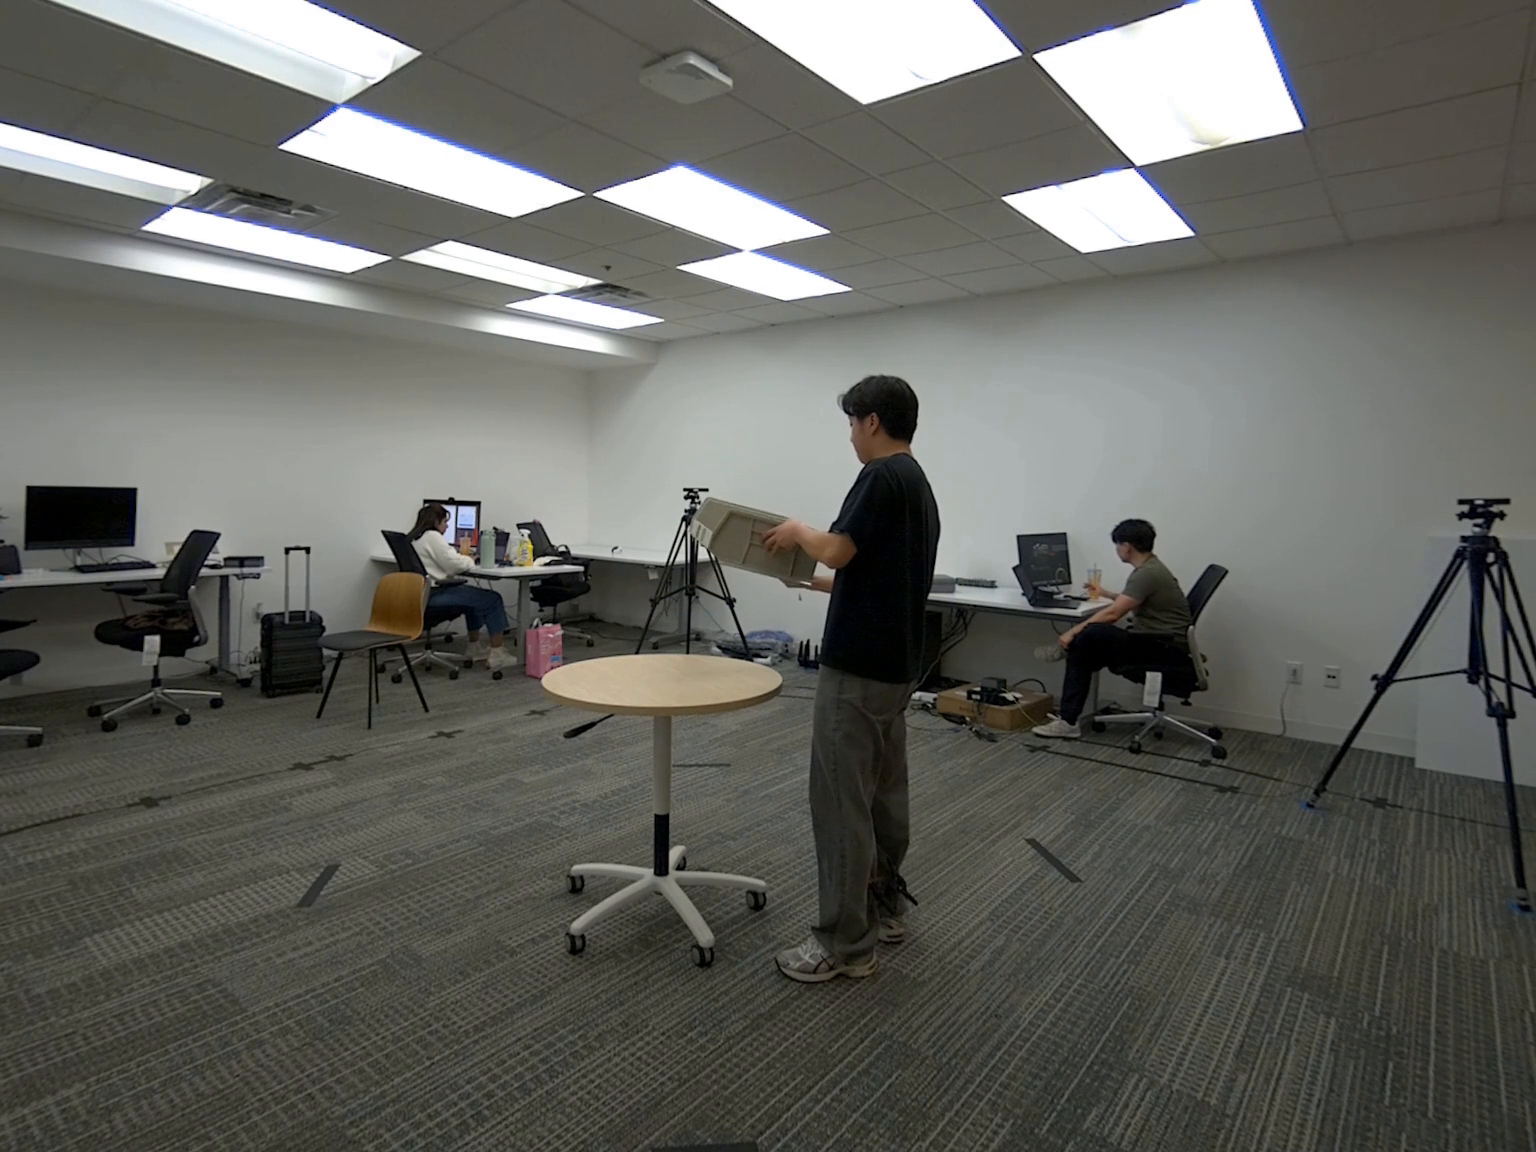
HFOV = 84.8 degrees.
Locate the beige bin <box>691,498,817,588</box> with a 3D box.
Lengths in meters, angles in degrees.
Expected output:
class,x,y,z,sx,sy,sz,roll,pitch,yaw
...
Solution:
class,x,y,z,sx,sy,sz,roll,pitch,yaw
beige bin,-0.056,-0.126,2.902,0.371,0.188,0.431,15,6,-15
